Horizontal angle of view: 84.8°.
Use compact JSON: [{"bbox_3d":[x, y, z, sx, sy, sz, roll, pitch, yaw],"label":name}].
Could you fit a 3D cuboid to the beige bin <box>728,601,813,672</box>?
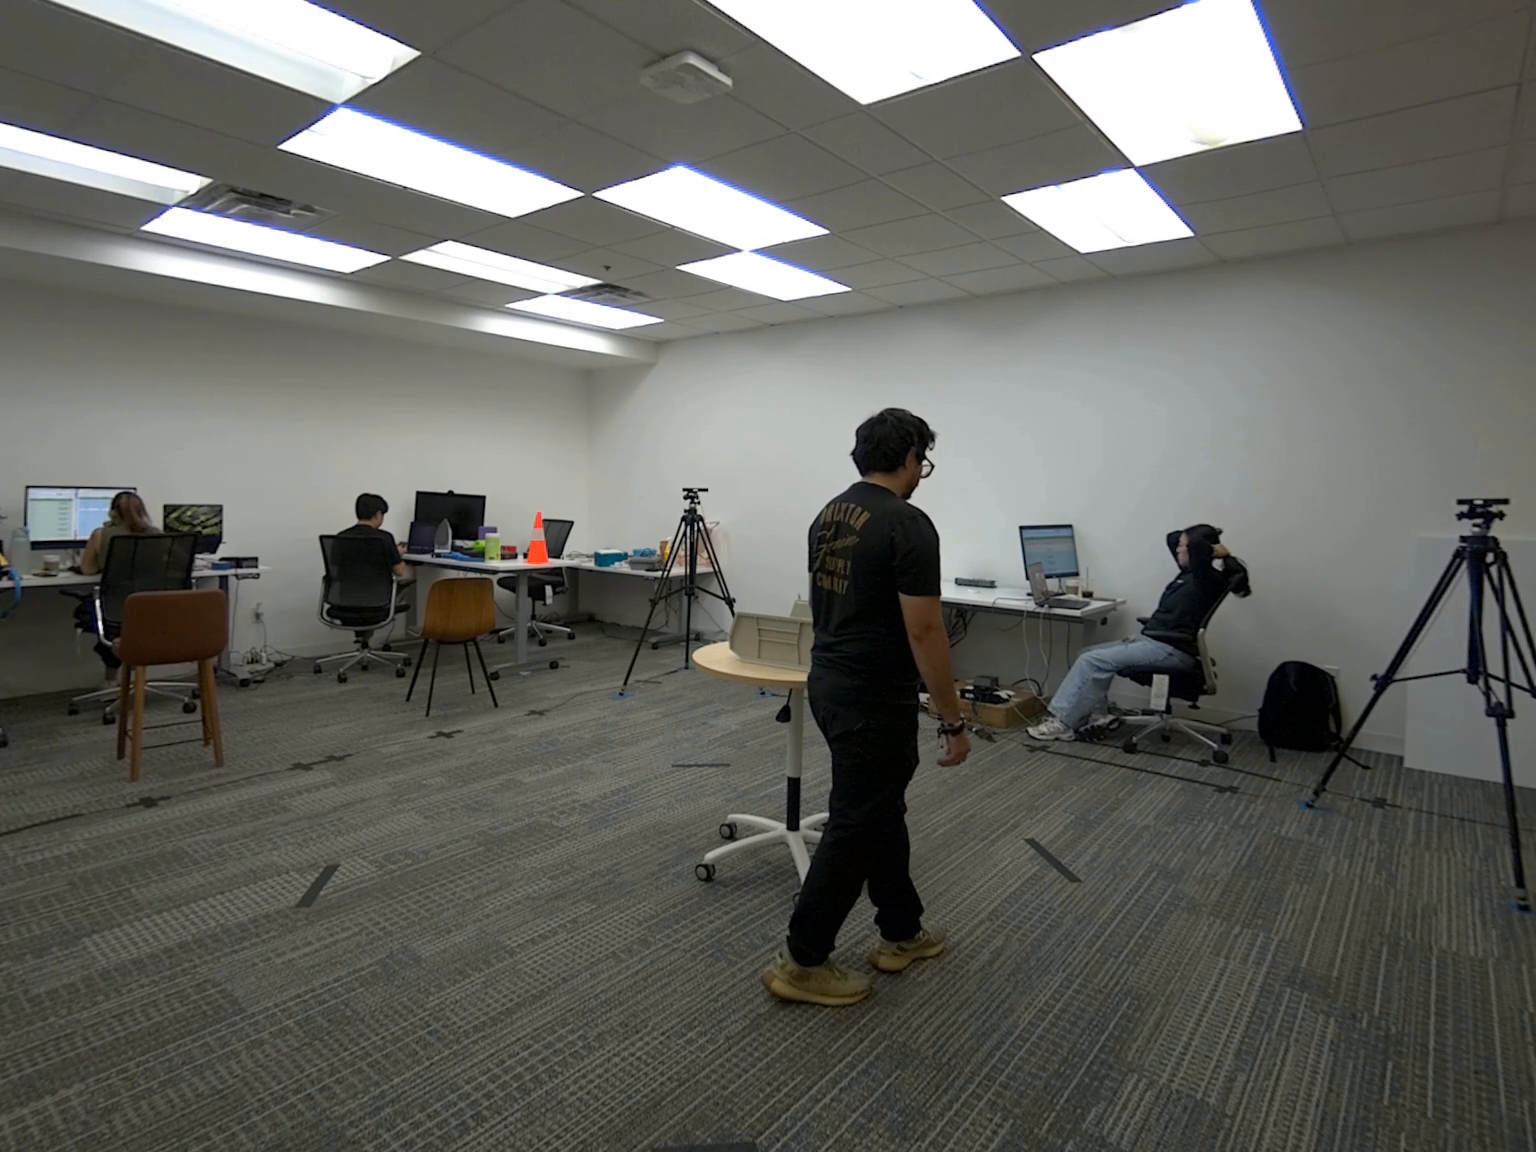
[{"bbox_3d":[0.113,0.209,3.104,0.389,0.188,0.411,6,6,32],"label":"beige bin"}]
